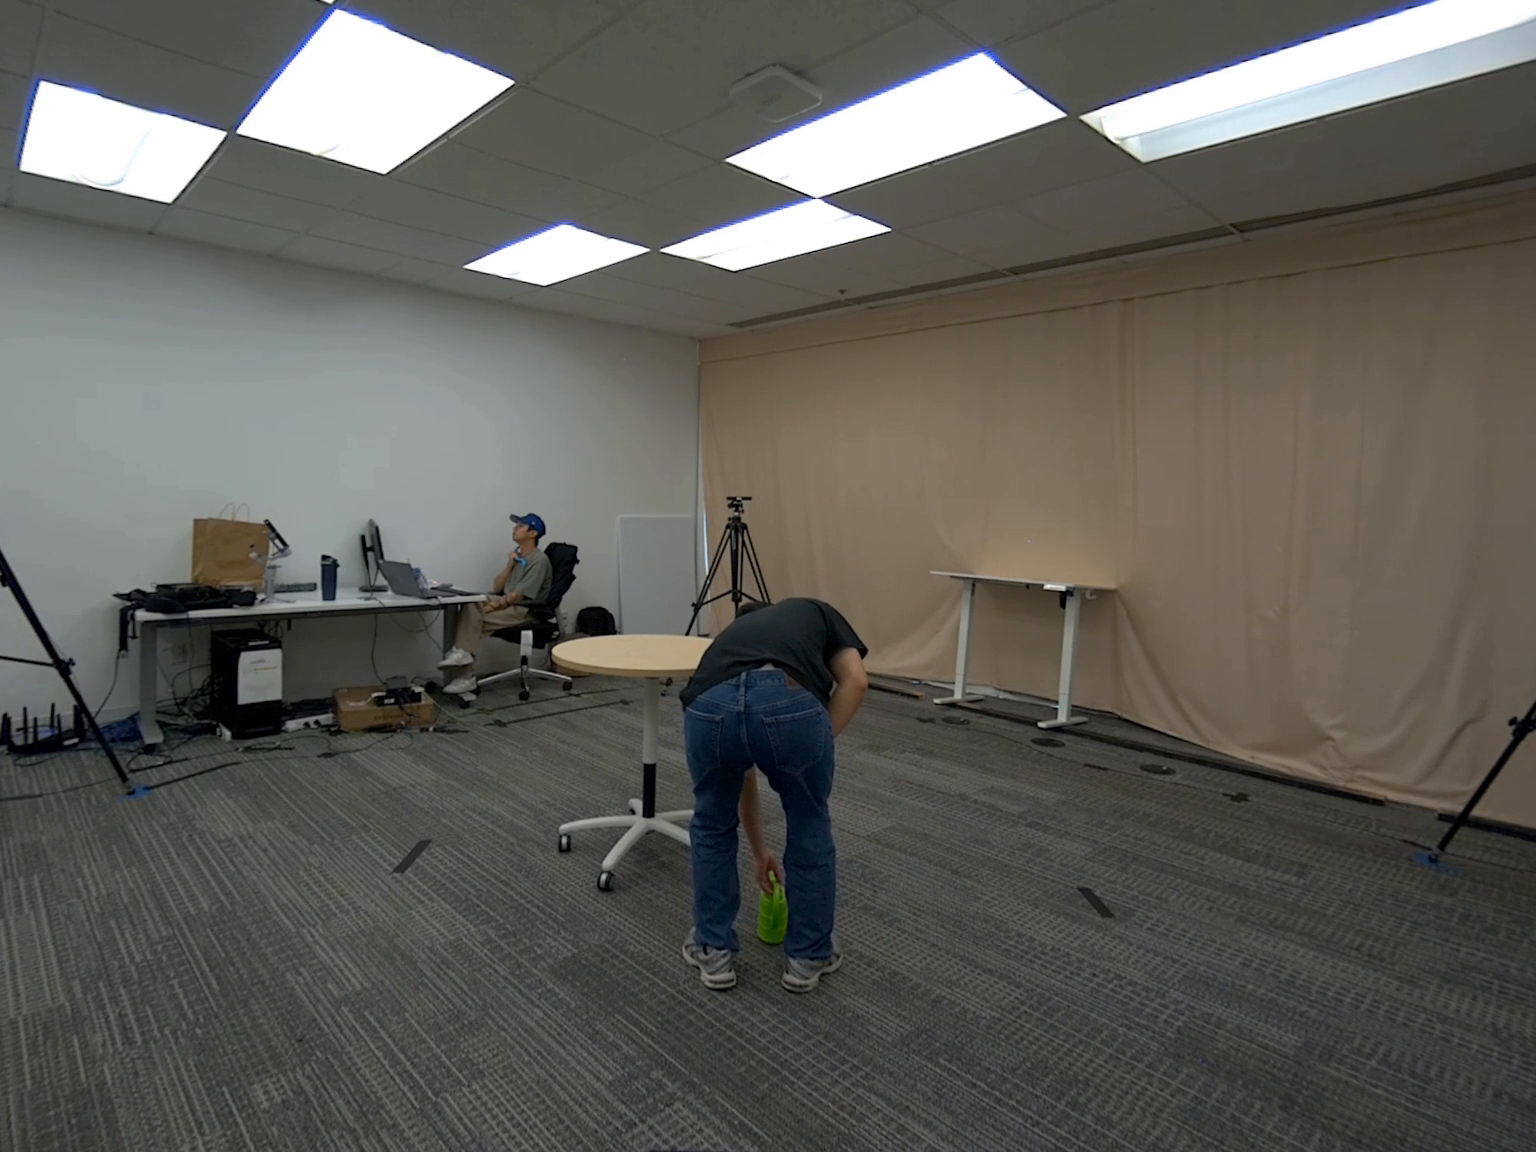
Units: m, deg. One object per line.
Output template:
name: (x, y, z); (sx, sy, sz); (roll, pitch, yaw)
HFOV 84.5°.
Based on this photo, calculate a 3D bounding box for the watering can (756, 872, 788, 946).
watering can: (0.019, 1.053, 2.718); (0.099, 0.176, 0.277); (5, 6, 10)
